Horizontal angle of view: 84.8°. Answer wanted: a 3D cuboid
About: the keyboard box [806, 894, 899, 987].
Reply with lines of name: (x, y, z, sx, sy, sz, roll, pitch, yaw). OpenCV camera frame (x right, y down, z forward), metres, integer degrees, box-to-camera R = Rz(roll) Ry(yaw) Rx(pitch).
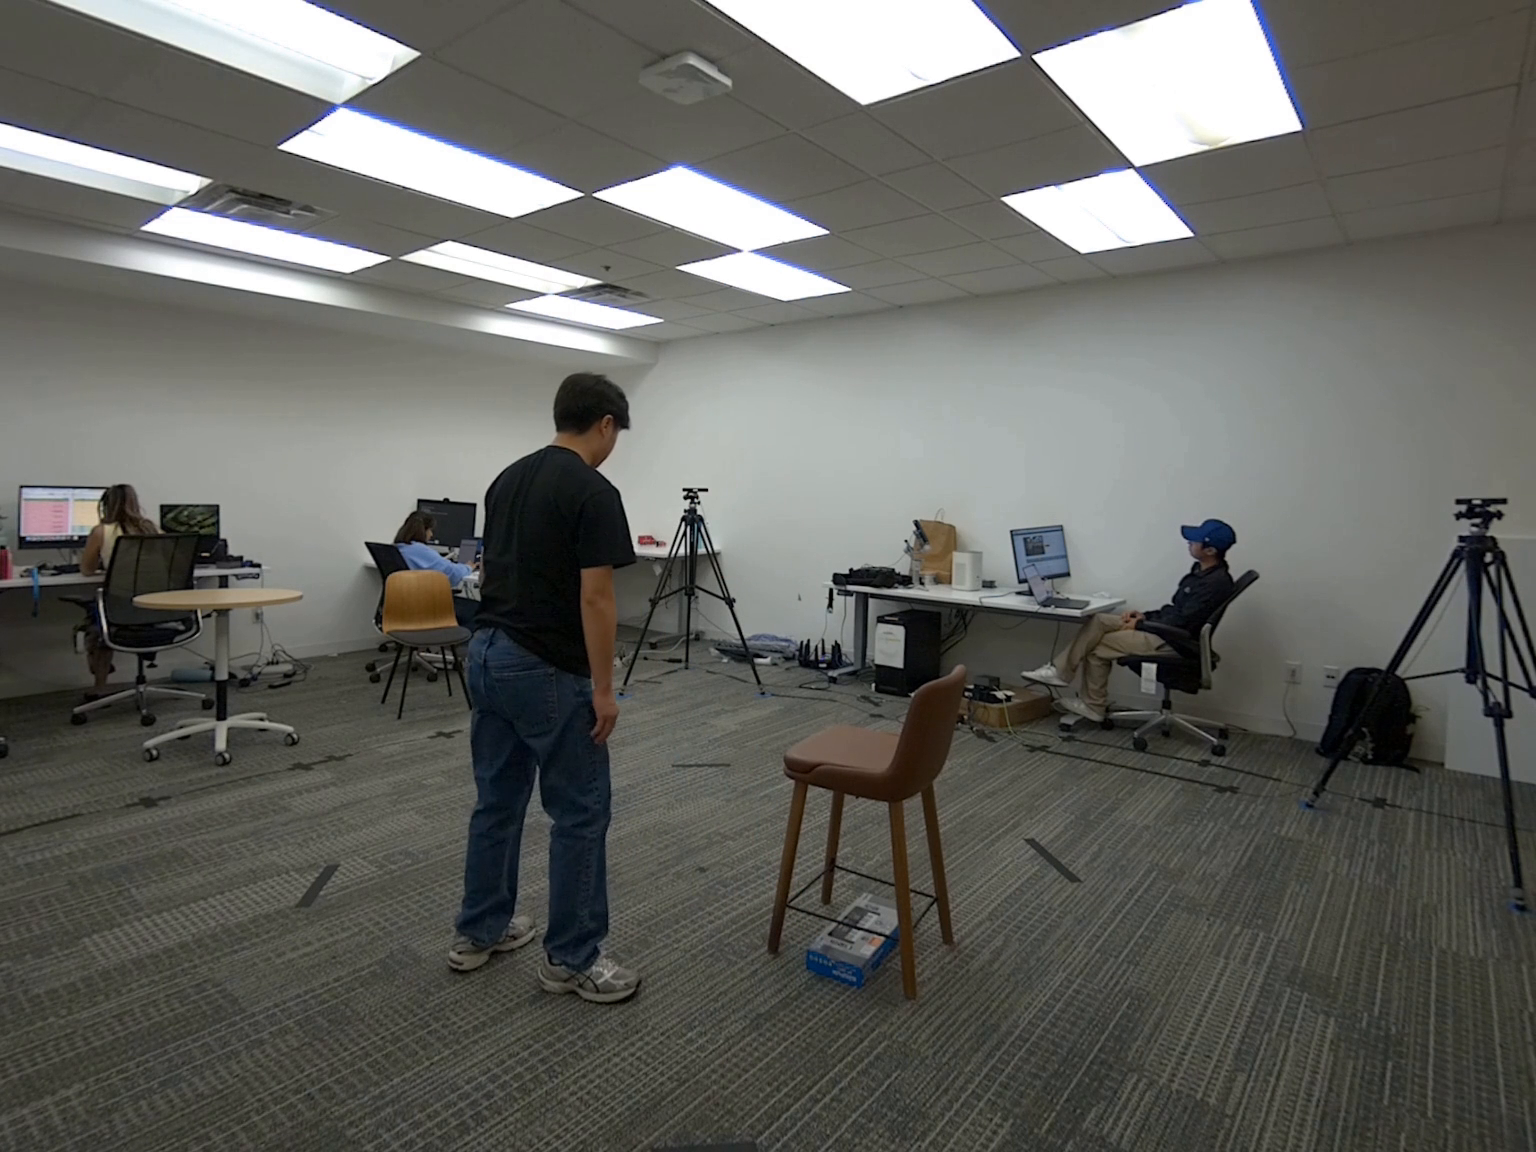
keyboard box: (0.287, 1.103, 2.605, 0.181, 0.059, 0.426, 4, 7, 30)
